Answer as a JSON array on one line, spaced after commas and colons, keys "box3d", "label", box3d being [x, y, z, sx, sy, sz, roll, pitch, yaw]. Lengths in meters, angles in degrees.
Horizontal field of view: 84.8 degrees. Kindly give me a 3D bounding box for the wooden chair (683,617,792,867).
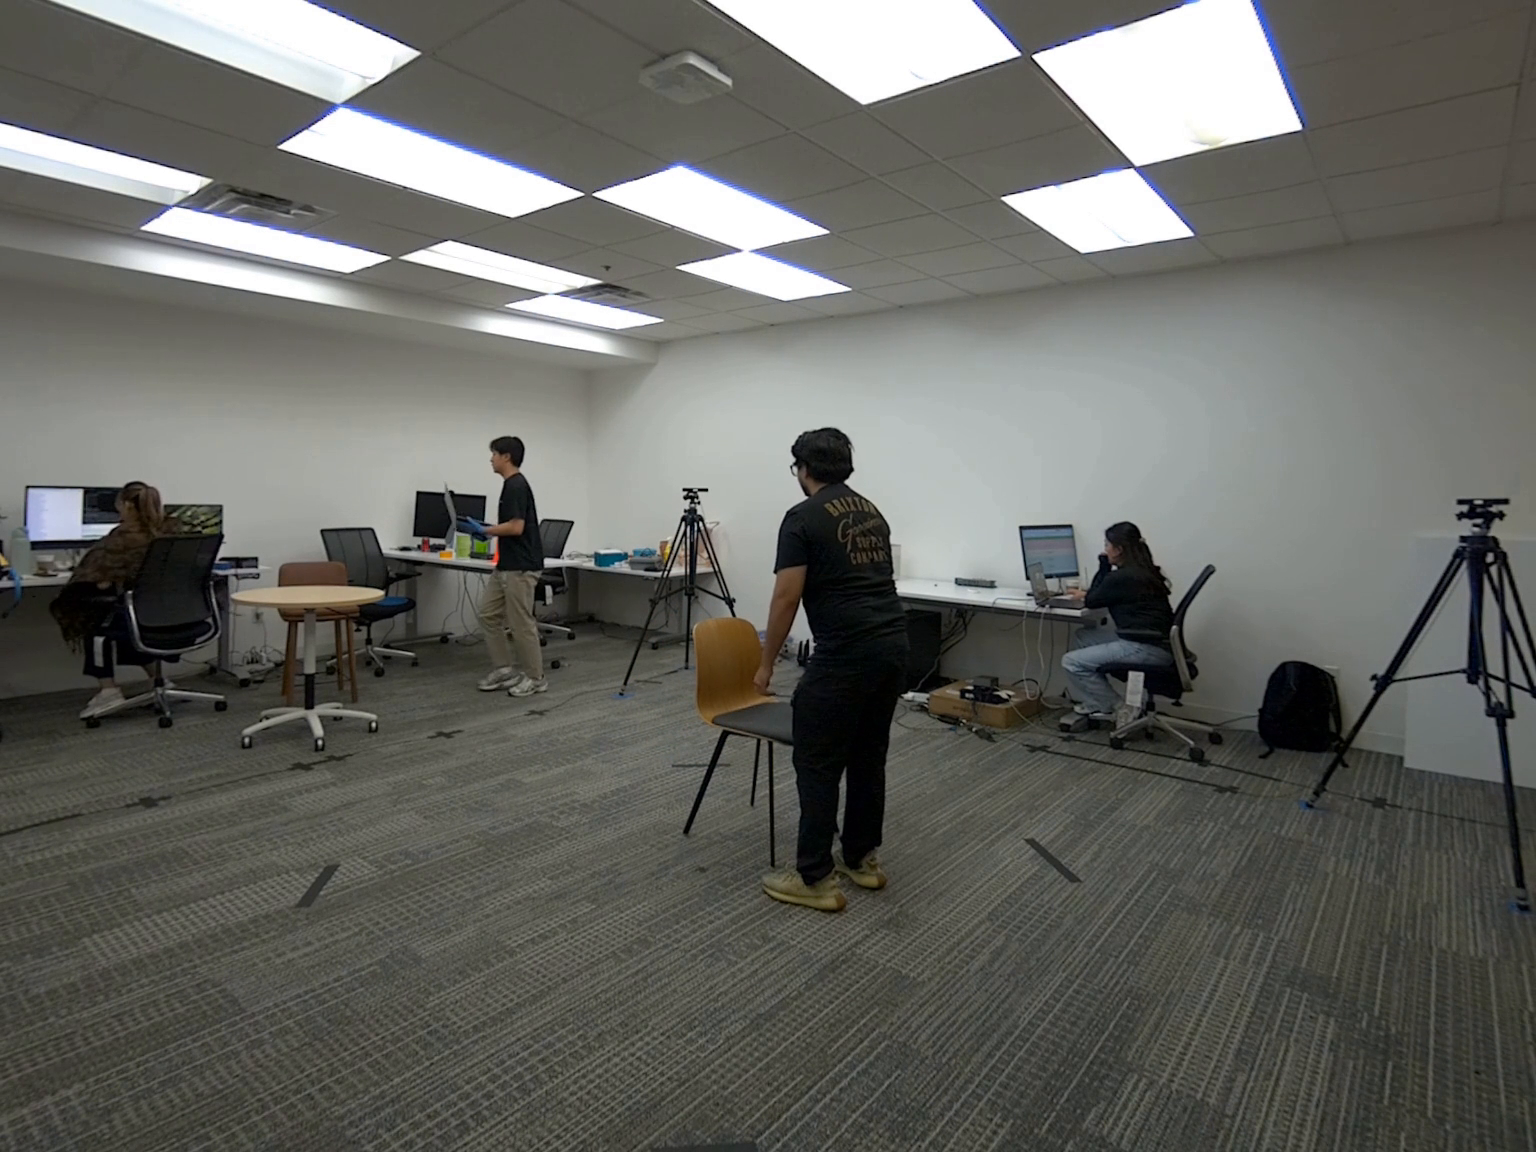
[{"box3d": [-0.019, 0.614, 3.413, 0.539, 0.877, 0.464, -2, 1, 39], "label": "wooden chair"}]
